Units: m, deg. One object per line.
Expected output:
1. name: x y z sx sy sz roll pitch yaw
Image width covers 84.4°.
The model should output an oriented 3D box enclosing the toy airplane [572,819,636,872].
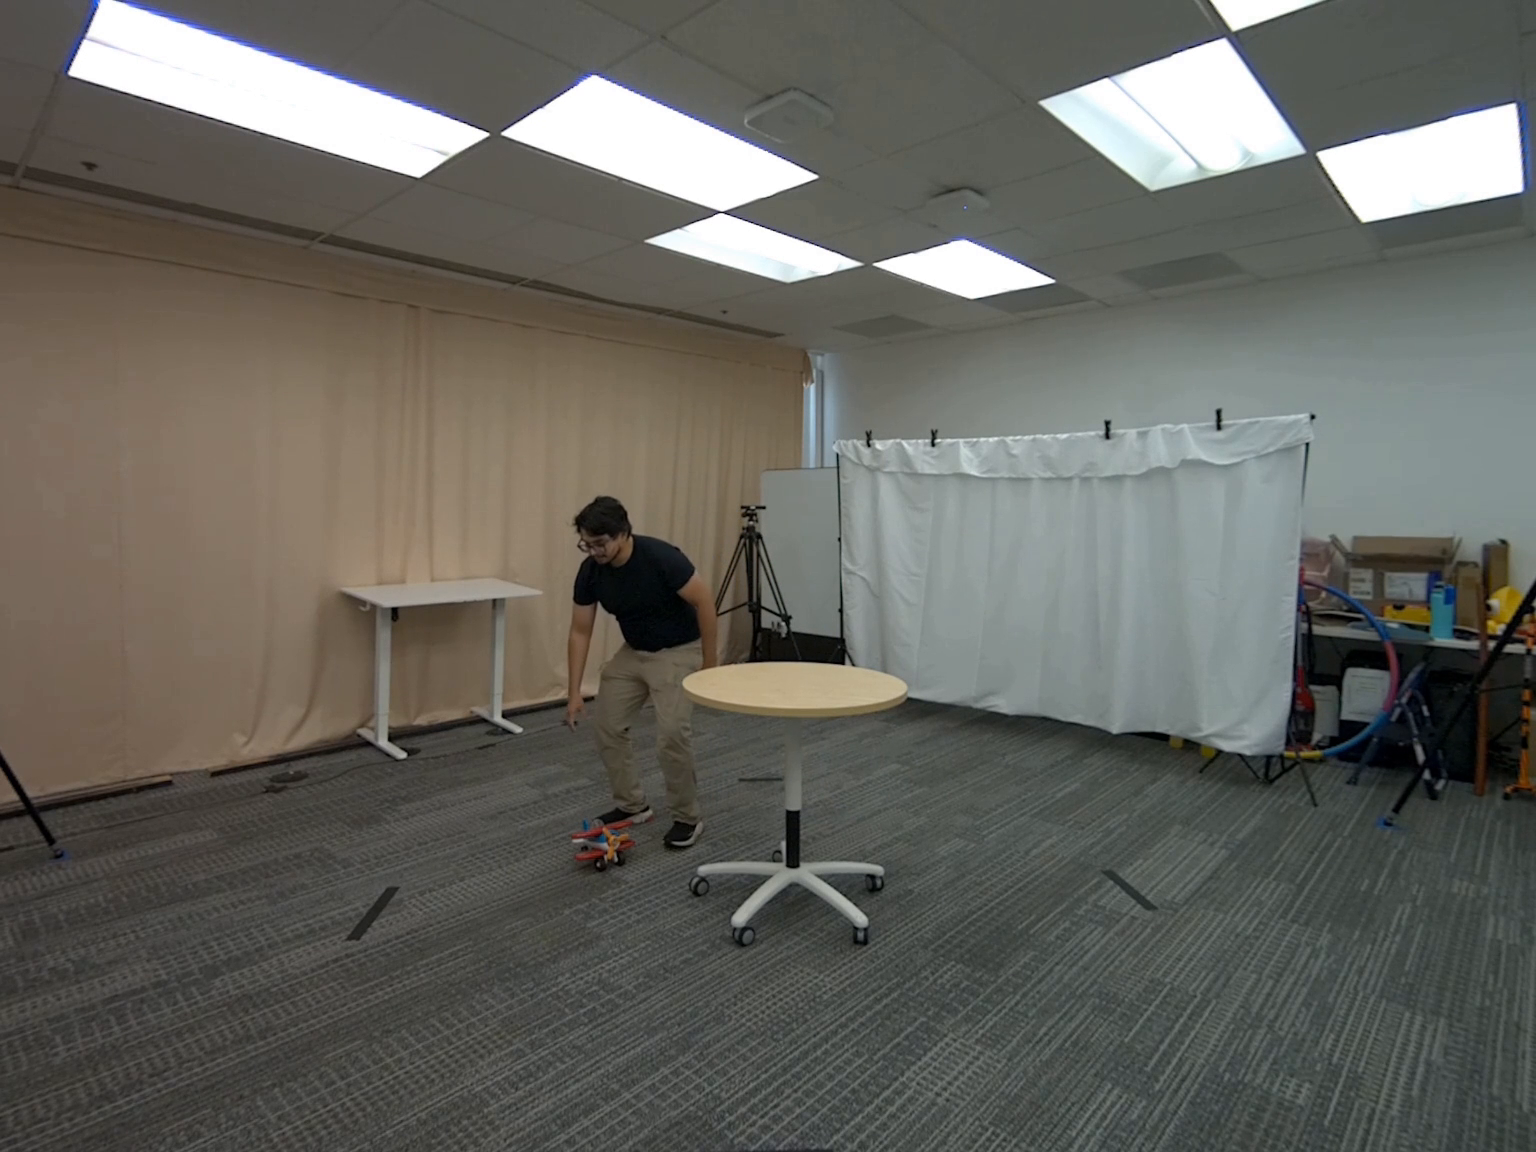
1. toy airplane: -0.680 1.048 3.299 0.266 0.156 0.245 4 6 24
